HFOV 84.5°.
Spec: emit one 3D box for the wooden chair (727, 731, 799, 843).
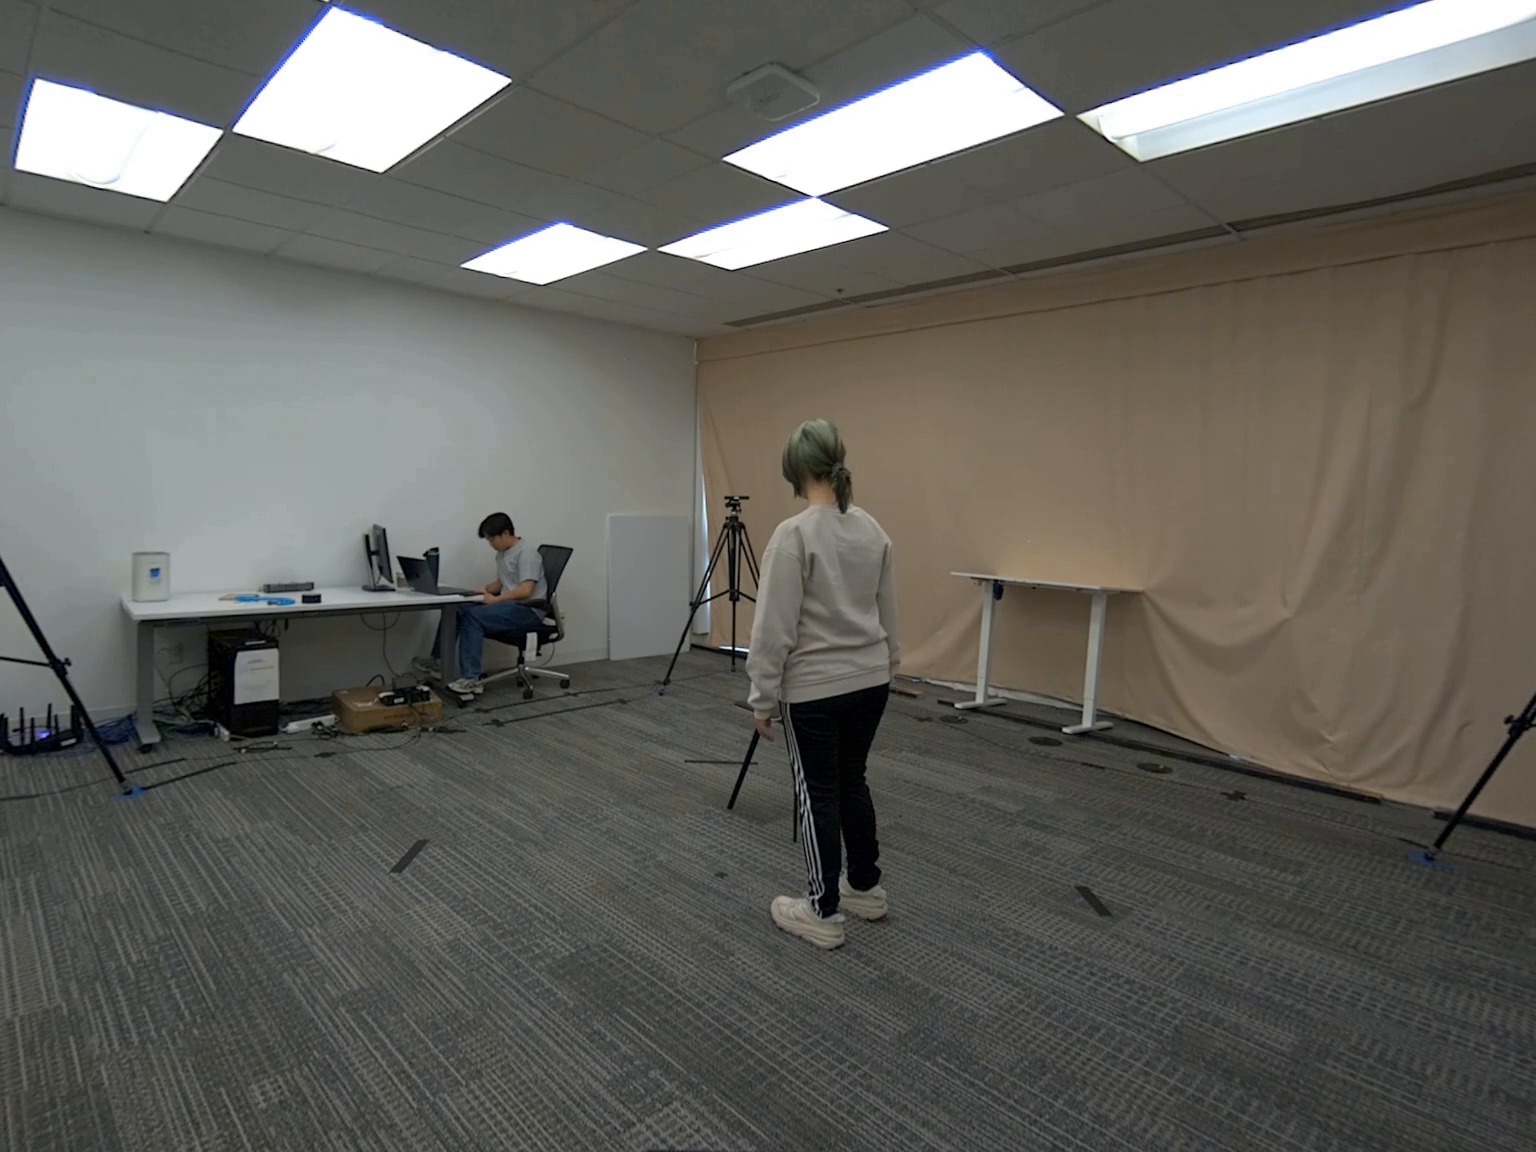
[{"bbox_3d":[0.140,0.635,3.708,0.467,0.873,0.537,-1,8,-39],"label":"wooden chair"}]
